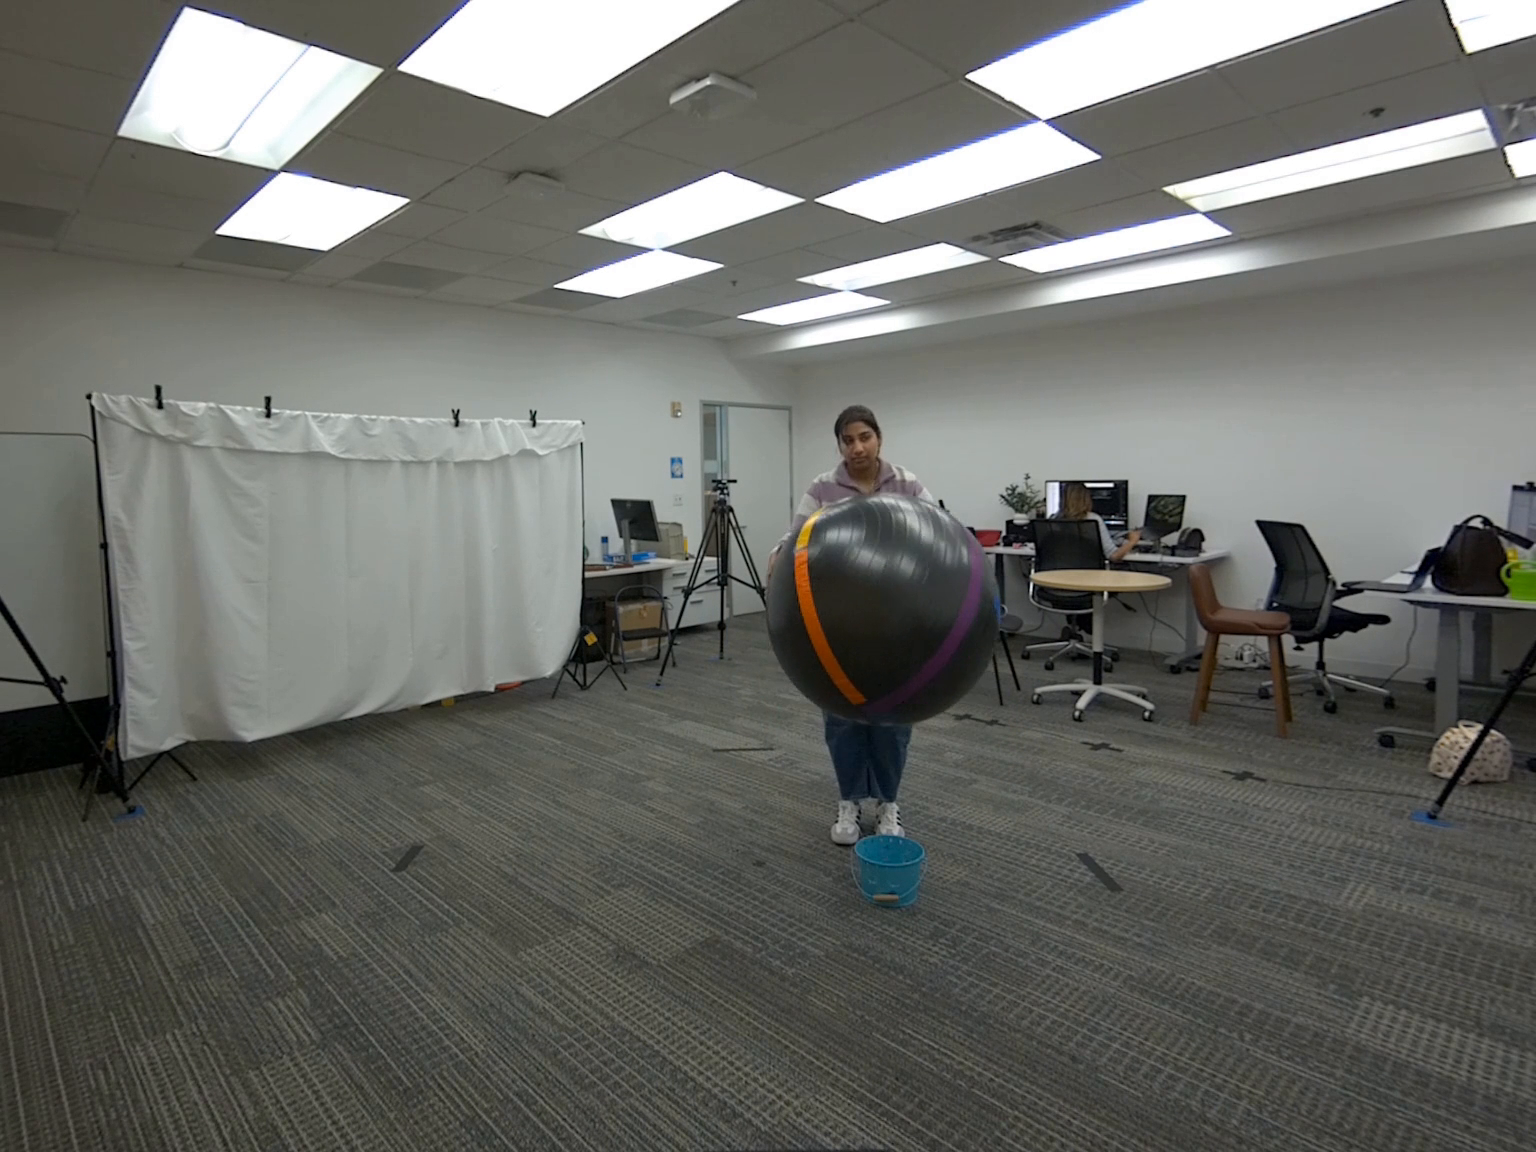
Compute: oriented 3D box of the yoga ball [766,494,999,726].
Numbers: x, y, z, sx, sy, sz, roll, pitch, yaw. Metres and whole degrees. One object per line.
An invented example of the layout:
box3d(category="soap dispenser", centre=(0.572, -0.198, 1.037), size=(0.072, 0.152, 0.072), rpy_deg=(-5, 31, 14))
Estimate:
box3d(category="yoga ball", centre=(0.372, 0.111, 2.796), size=(0.757, 0.755, 0.762), rpy_deg=(-1, 5, -2))
